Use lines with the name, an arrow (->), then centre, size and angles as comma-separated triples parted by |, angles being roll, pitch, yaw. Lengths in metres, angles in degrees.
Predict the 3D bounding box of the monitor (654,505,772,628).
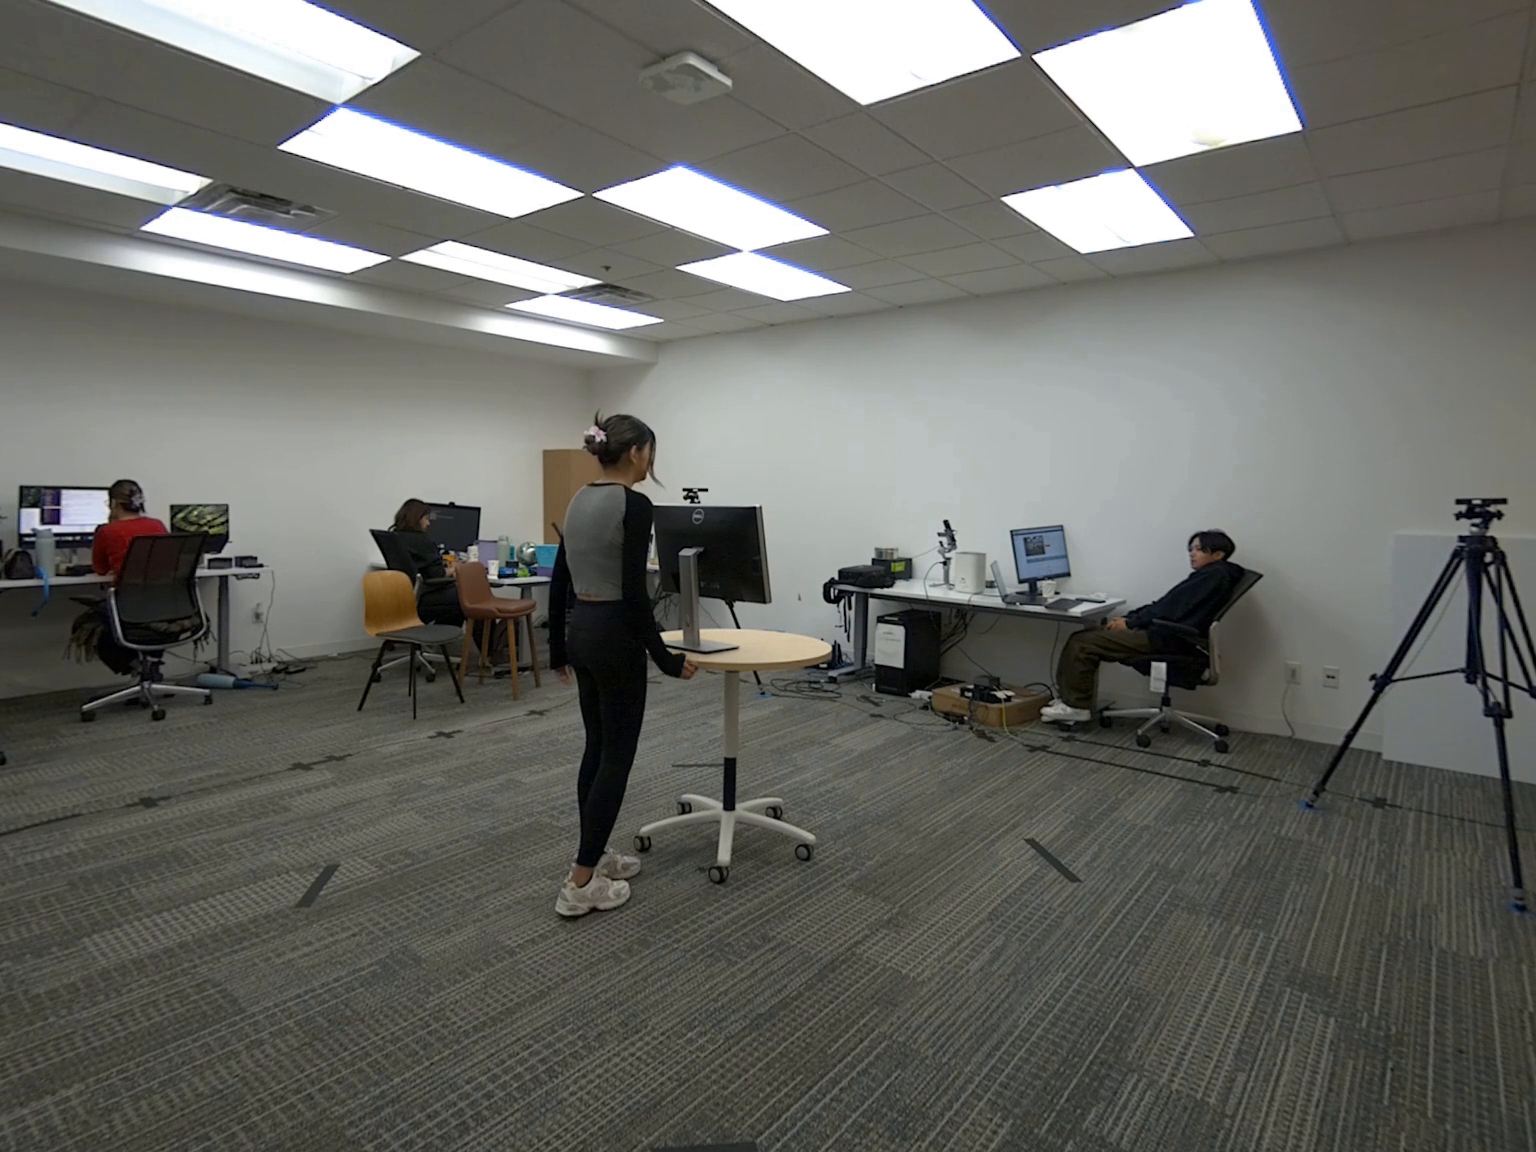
monitor -> -0.262, 0.000, 3.206 | 0.557, 0.522, 0.181 | 4, 2, 39
